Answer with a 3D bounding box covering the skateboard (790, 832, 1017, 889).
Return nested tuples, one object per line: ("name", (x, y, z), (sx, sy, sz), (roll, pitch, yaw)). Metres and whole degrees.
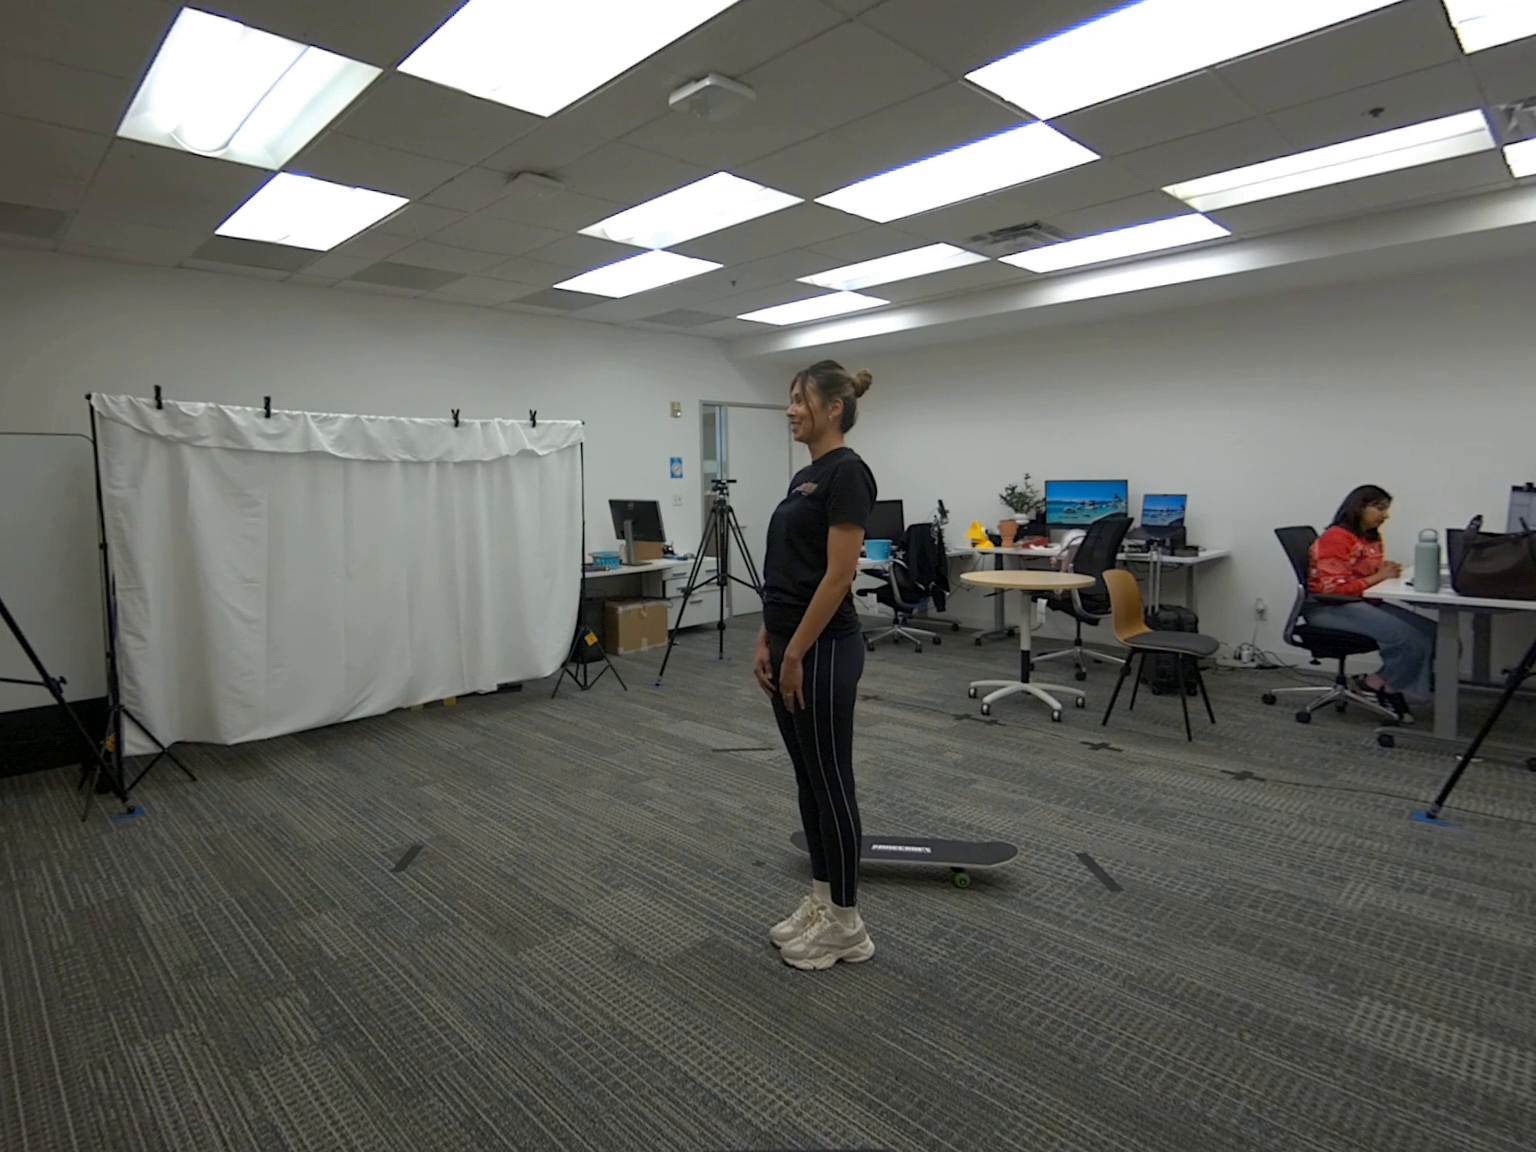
("skateboard", (0.471, 0.991, 3.006), (0.793, 0.110, 0.192), (0, 6, 9))
